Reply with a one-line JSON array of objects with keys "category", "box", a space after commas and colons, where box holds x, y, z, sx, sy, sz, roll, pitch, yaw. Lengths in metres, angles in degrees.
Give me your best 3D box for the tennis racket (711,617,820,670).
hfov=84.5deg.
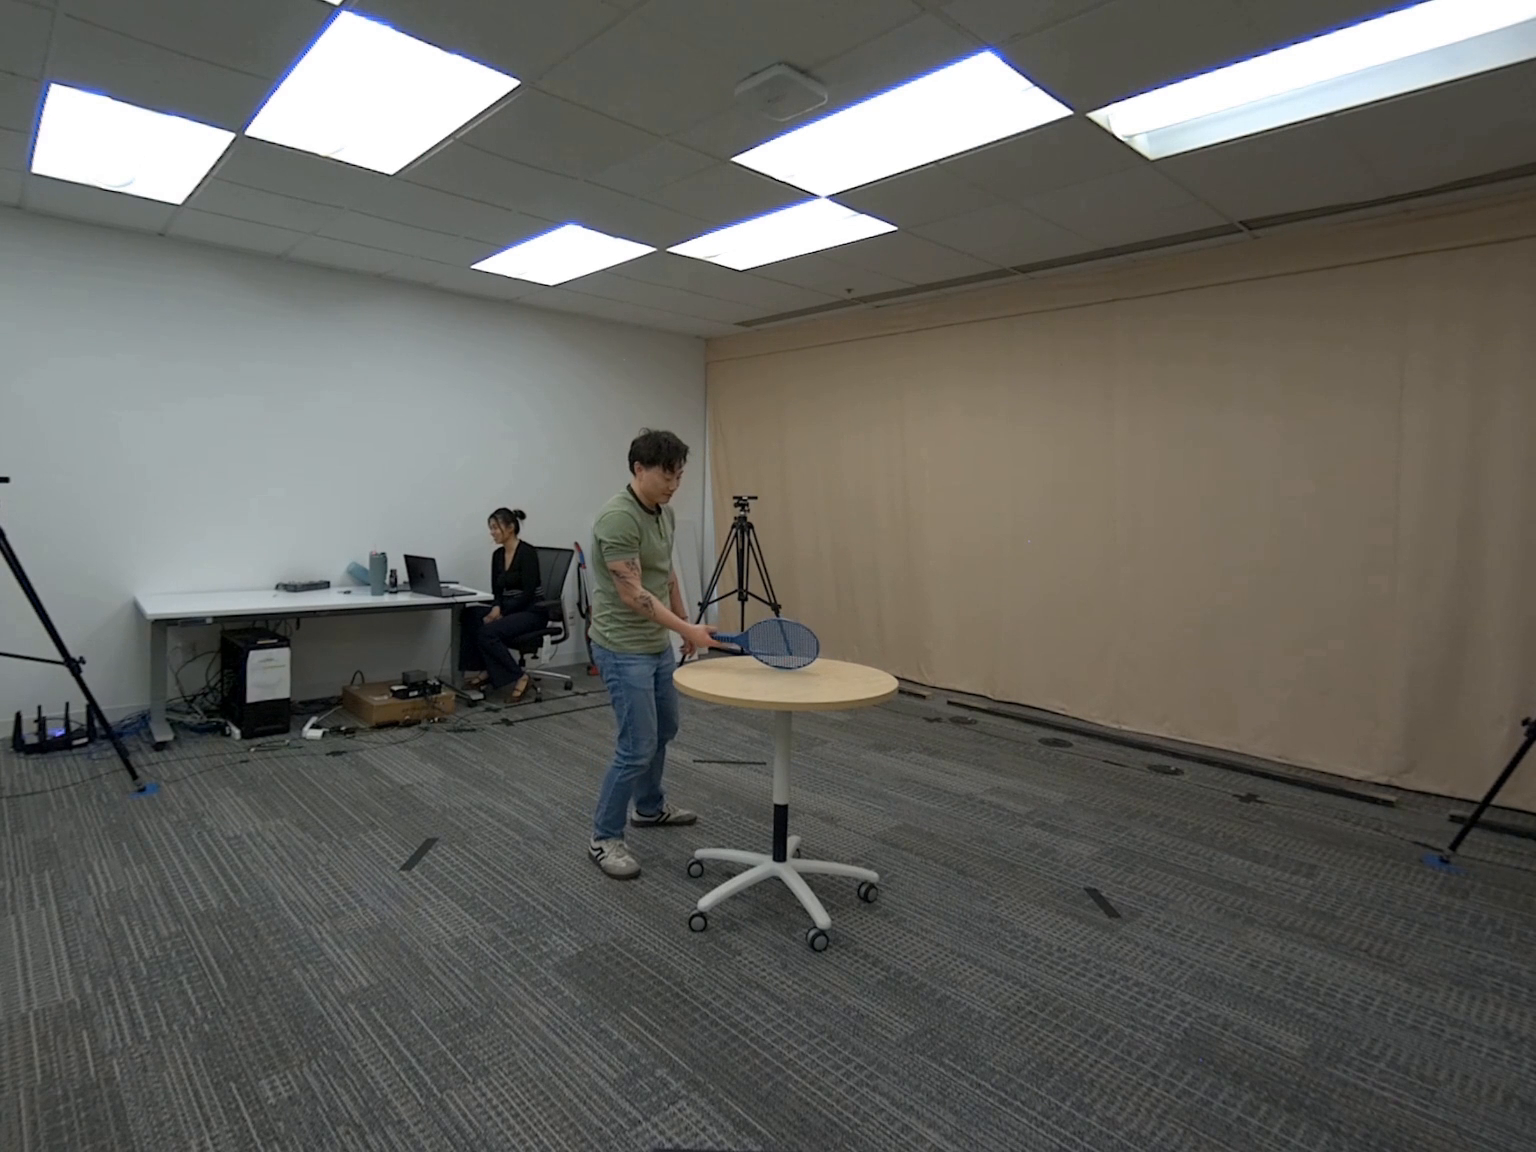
[{"category": "tennis racket", "box": [-0.034, 0.233, 2.968, 0.437, 0.210, 0.032, 4, 25, 12]}]
